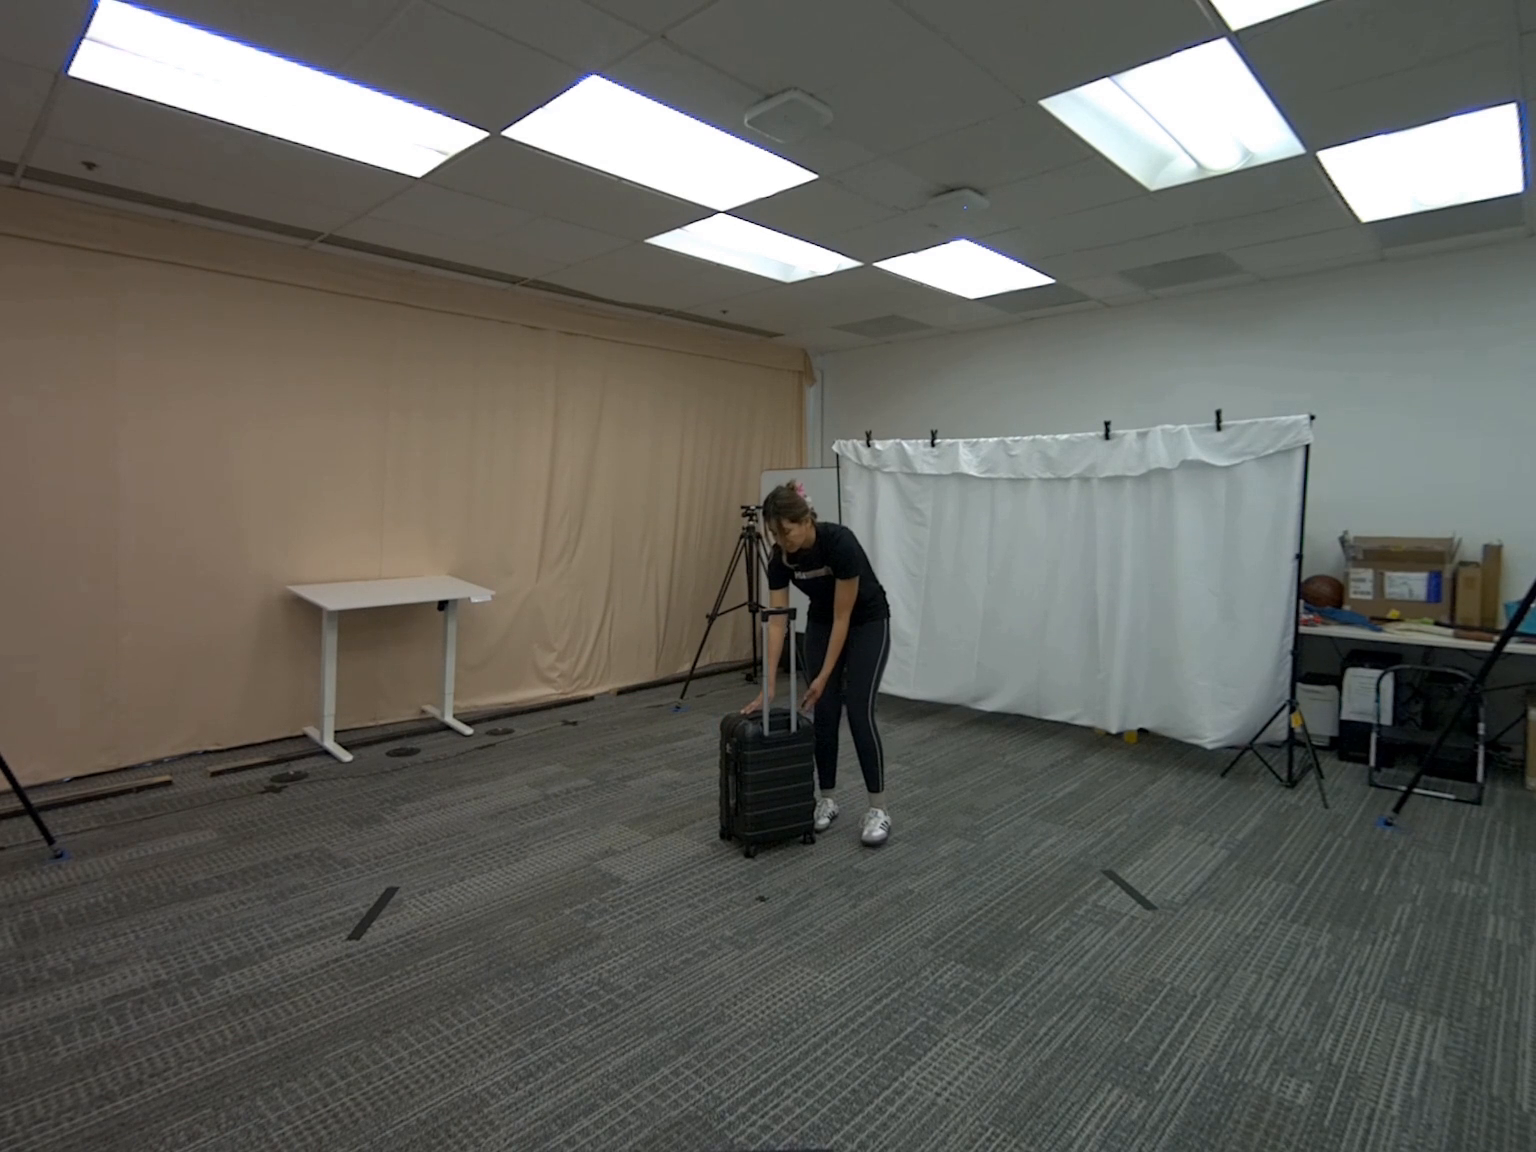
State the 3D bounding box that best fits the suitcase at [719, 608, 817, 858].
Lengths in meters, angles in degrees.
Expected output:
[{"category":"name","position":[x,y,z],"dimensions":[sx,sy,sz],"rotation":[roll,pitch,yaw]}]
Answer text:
[{"category":"suitcase","position":[-0.012,0.627,3.462],"dimensions":[0.375,0.977,0.263],"rotation":[-2,2,-25]}]
